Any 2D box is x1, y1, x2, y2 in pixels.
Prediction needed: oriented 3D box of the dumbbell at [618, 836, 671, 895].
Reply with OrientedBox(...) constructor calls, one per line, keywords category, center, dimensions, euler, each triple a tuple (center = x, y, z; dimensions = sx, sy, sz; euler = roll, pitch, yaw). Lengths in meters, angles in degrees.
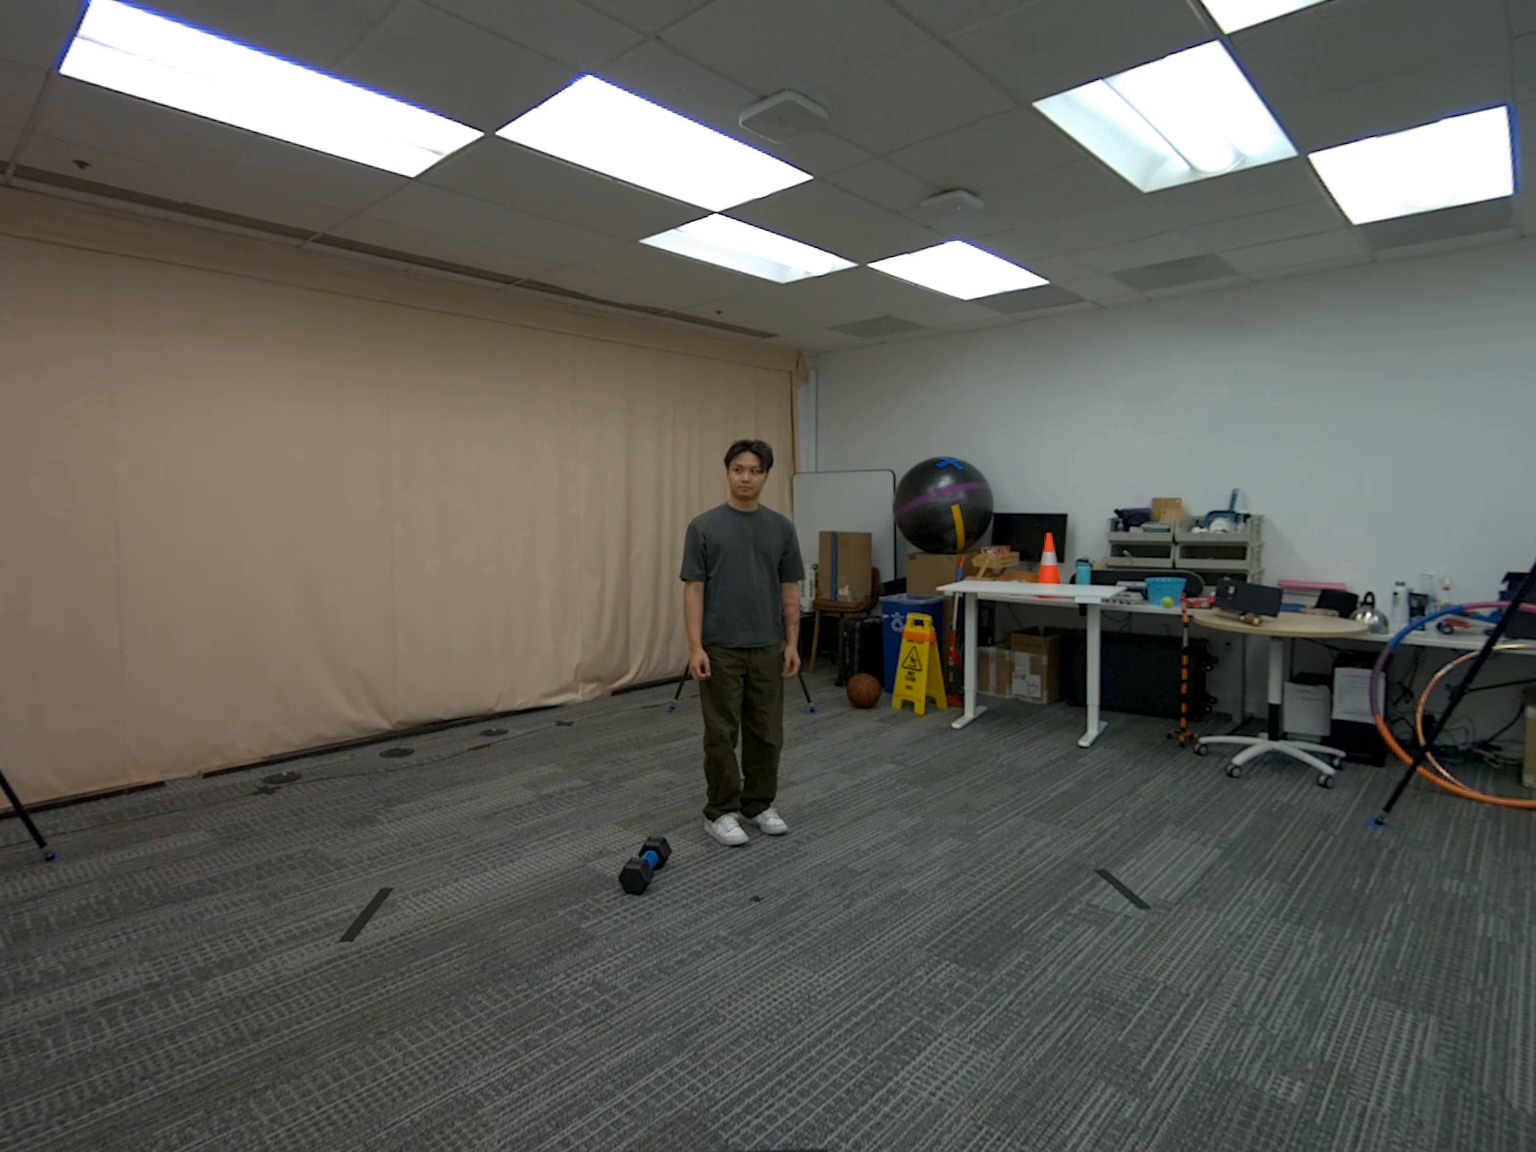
OrientedBox(category="dumbbell", center=(-0.455, 1.077, 3.153), dimensions=(0.125, 0.108, 0.290), euler=(2, 6, 11))
